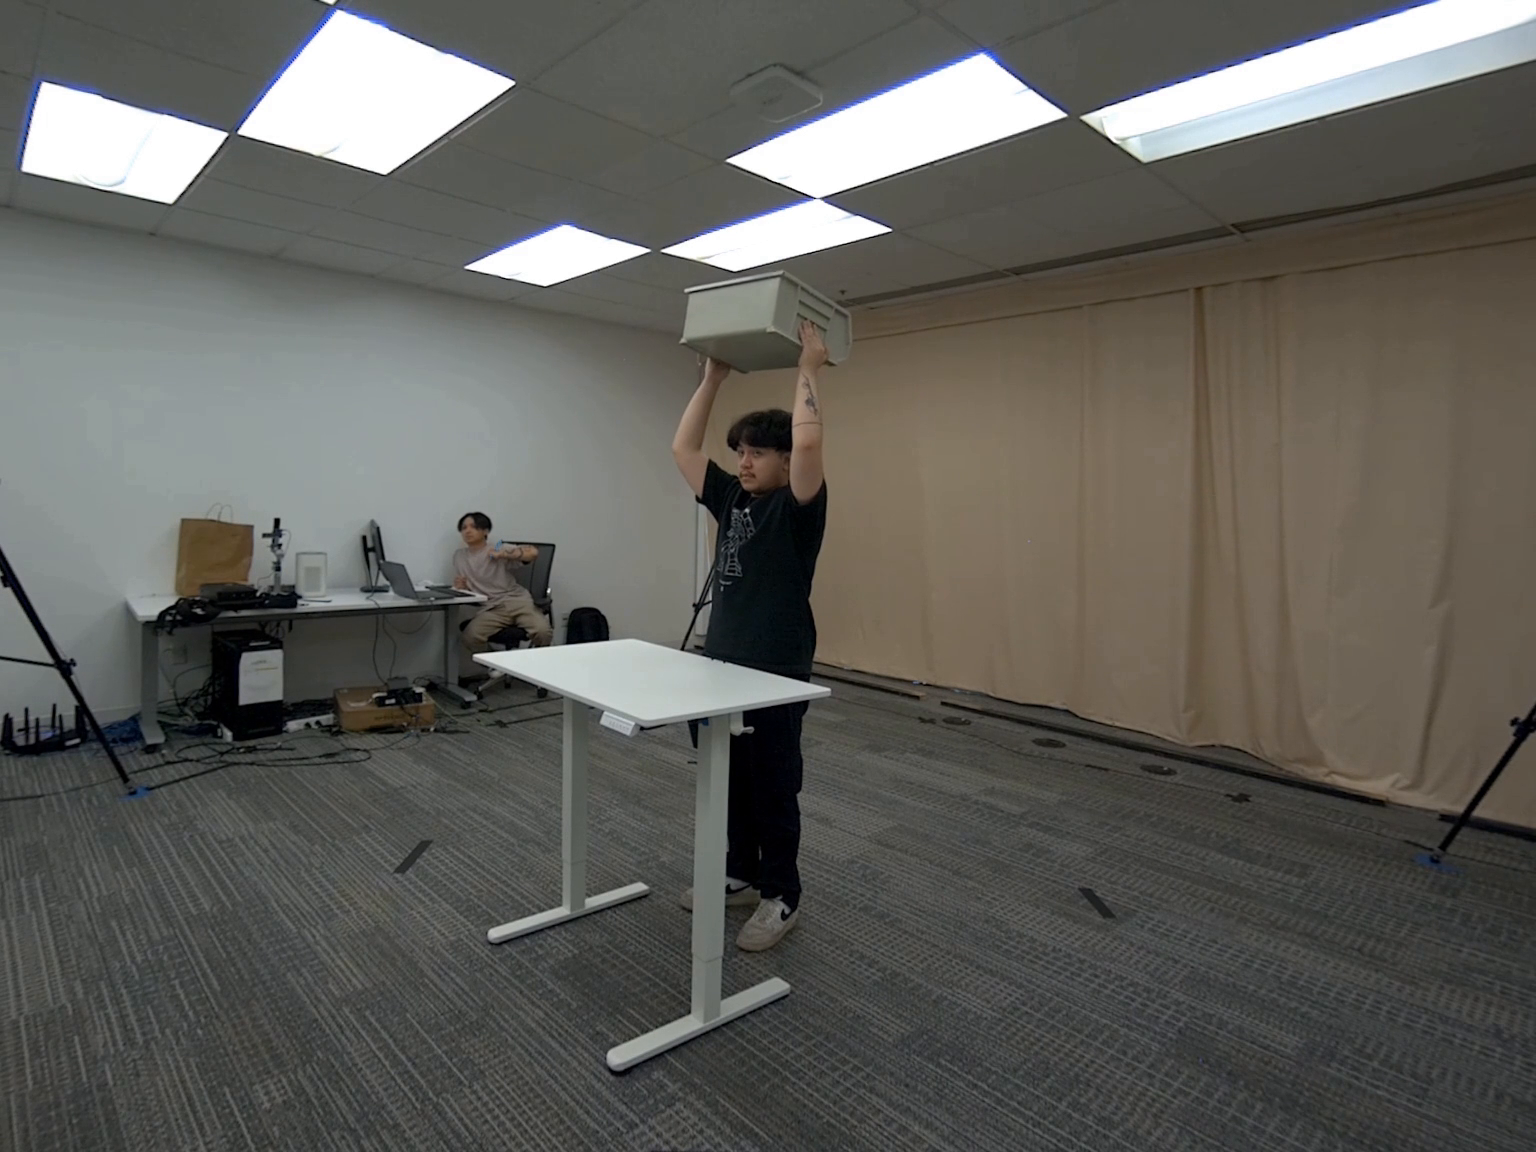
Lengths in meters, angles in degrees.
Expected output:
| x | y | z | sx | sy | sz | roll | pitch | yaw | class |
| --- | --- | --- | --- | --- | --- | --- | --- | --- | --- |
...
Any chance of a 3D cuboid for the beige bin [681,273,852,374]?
| x | y | z | sx | sy | sz | roll | pitch | yaw | class |
| --- | --- | --- | --- | --- | --- | --- | --- | --- | --- |
| -0.012 | -0.788 | 2.698 | 0.433 | 0.189 | 0.367 | 8 | -3 | 42 | beige bin |
